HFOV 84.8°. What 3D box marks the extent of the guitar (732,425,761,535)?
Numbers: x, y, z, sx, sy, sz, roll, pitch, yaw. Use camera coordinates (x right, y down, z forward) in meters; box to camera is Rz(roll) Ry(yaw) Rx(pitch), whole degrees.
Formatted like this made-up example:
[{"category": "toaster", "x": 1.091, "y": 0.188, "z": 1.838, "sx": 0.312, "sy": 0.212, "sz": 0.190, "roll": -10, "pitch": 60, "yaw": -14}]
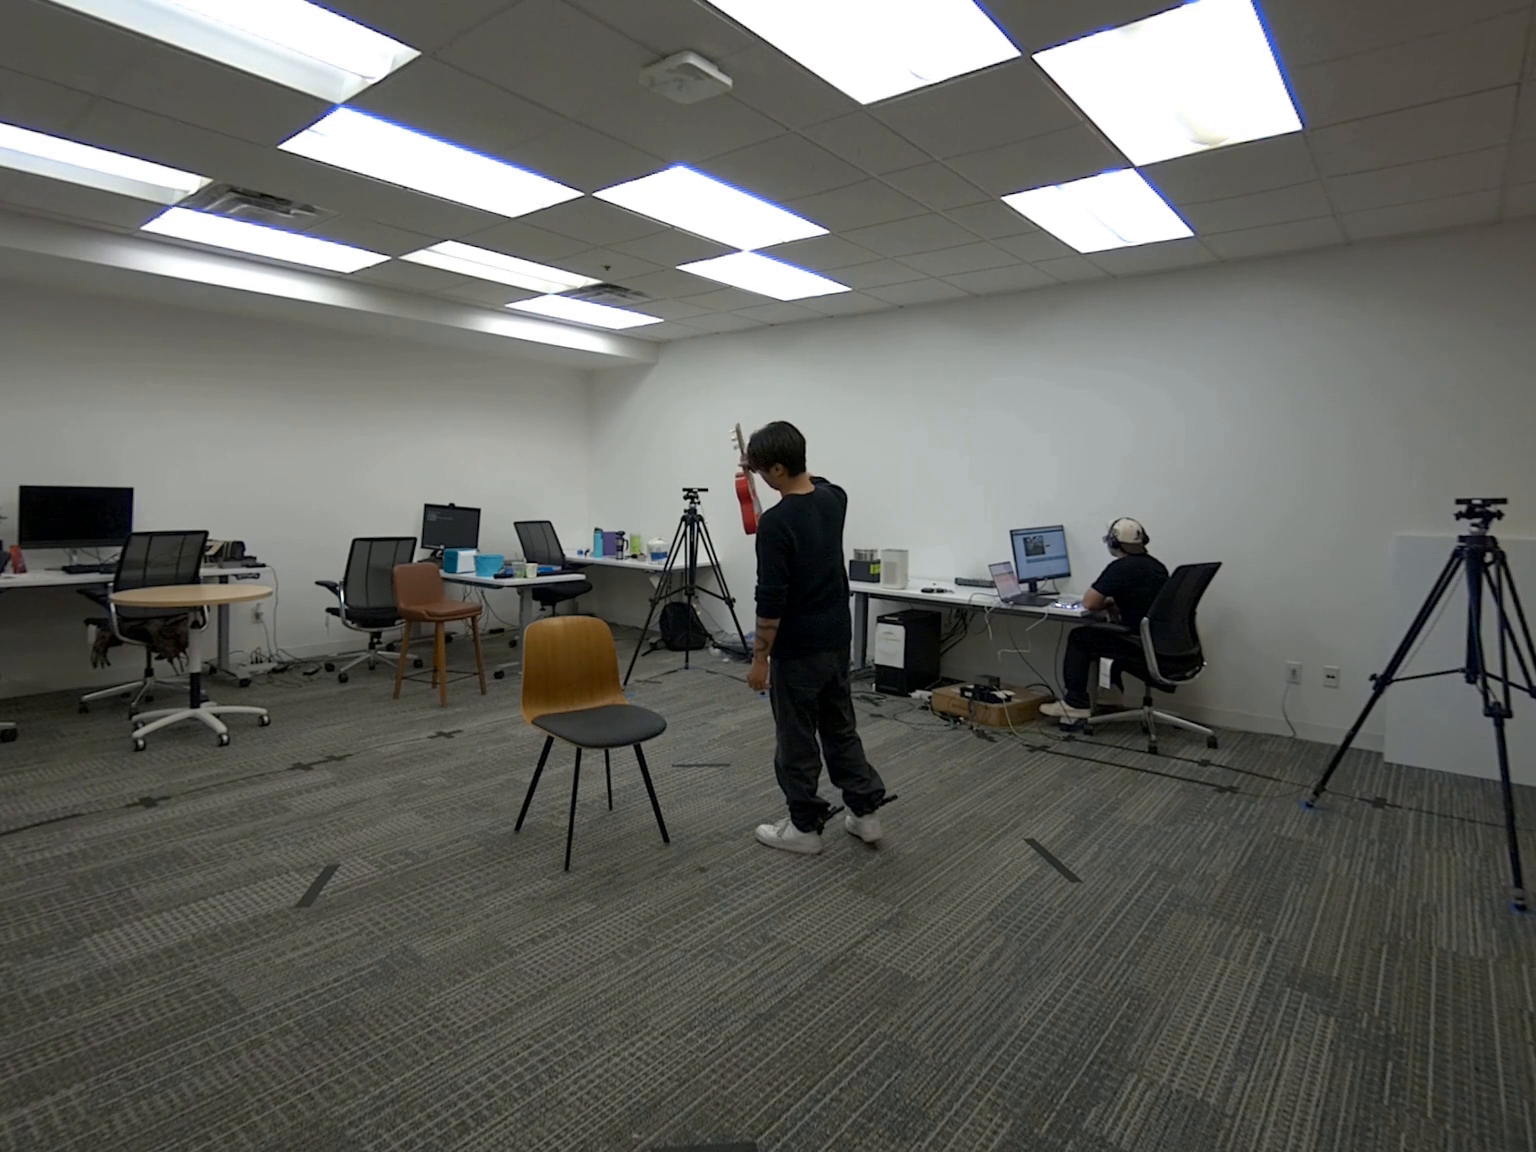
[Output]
[{"category": "guitar", "x": -0.112, "y": -0.436, "z": 3.730, "sx": 0.071, "sy": 0.489, "sz": 0.194, "roll": -9, "pitch": 15, "yaw": 10}]
